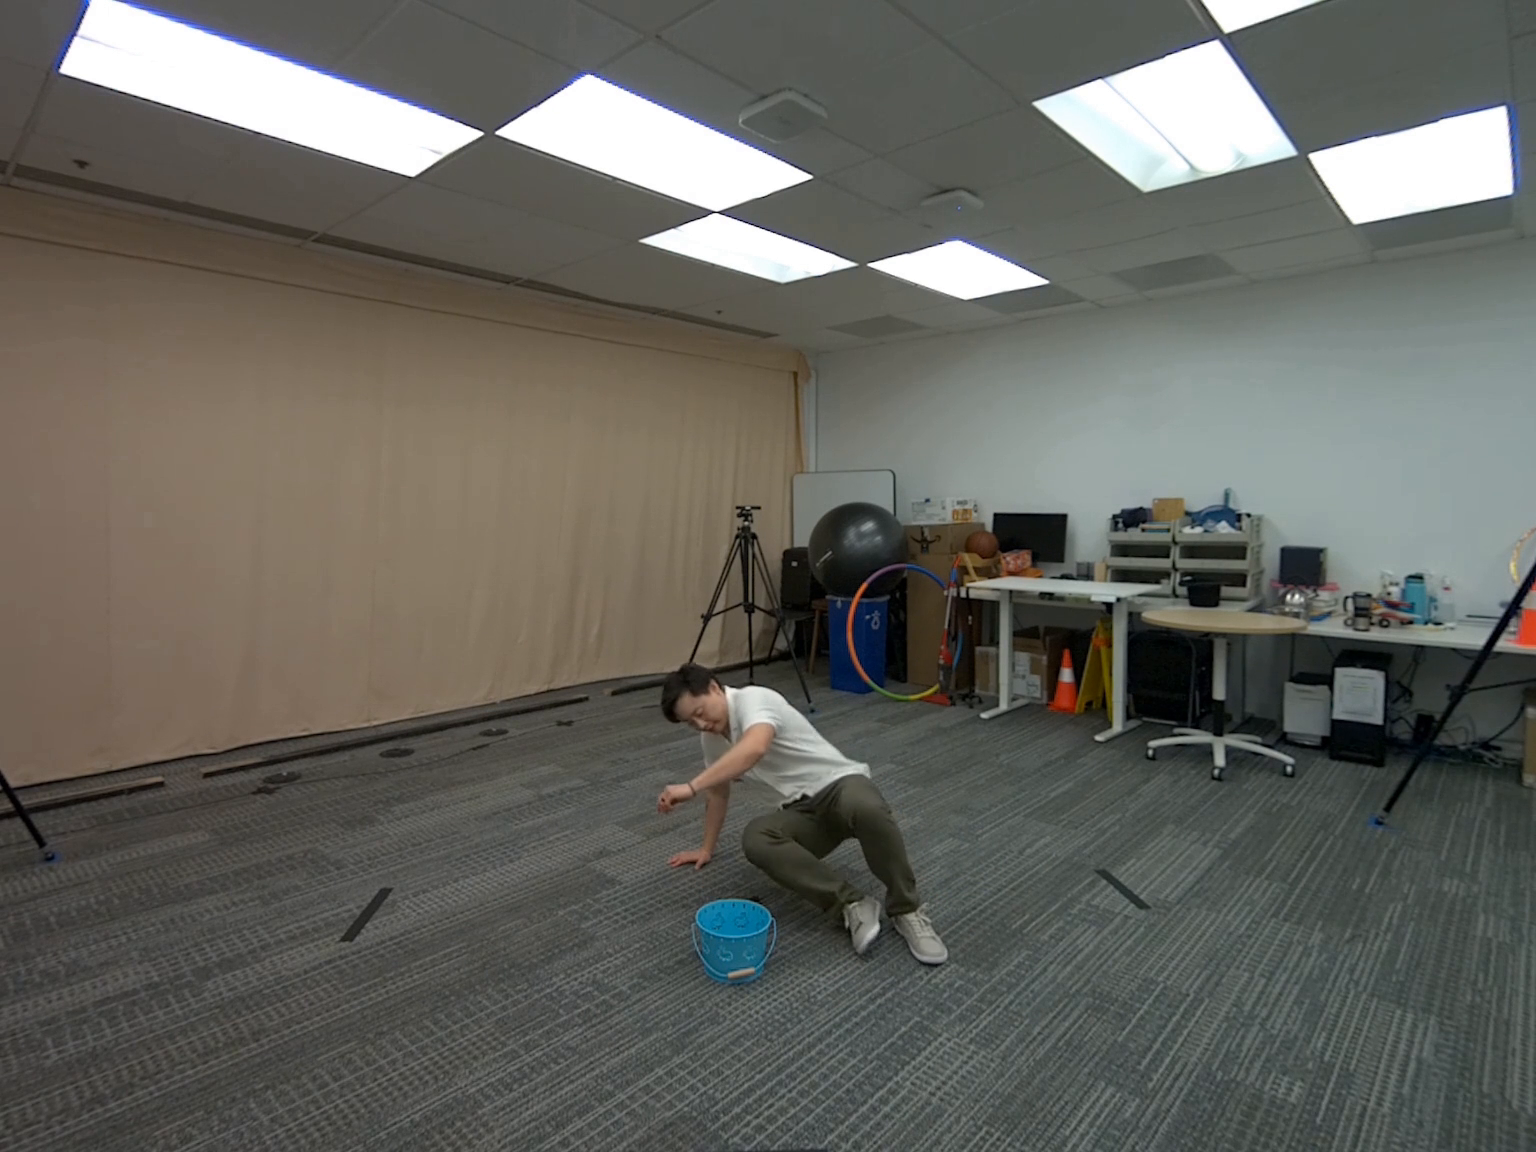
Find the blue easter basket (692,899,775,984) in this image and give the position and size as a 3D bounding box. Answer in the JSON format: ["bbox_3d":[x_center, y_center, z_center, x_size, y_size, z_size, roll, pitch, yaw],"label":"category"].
[{"bbox_3d":[-0.108,1.103,2.538,0.243,0.155,0.244,-2,4,-2],"label":"blue easter basket"}]
